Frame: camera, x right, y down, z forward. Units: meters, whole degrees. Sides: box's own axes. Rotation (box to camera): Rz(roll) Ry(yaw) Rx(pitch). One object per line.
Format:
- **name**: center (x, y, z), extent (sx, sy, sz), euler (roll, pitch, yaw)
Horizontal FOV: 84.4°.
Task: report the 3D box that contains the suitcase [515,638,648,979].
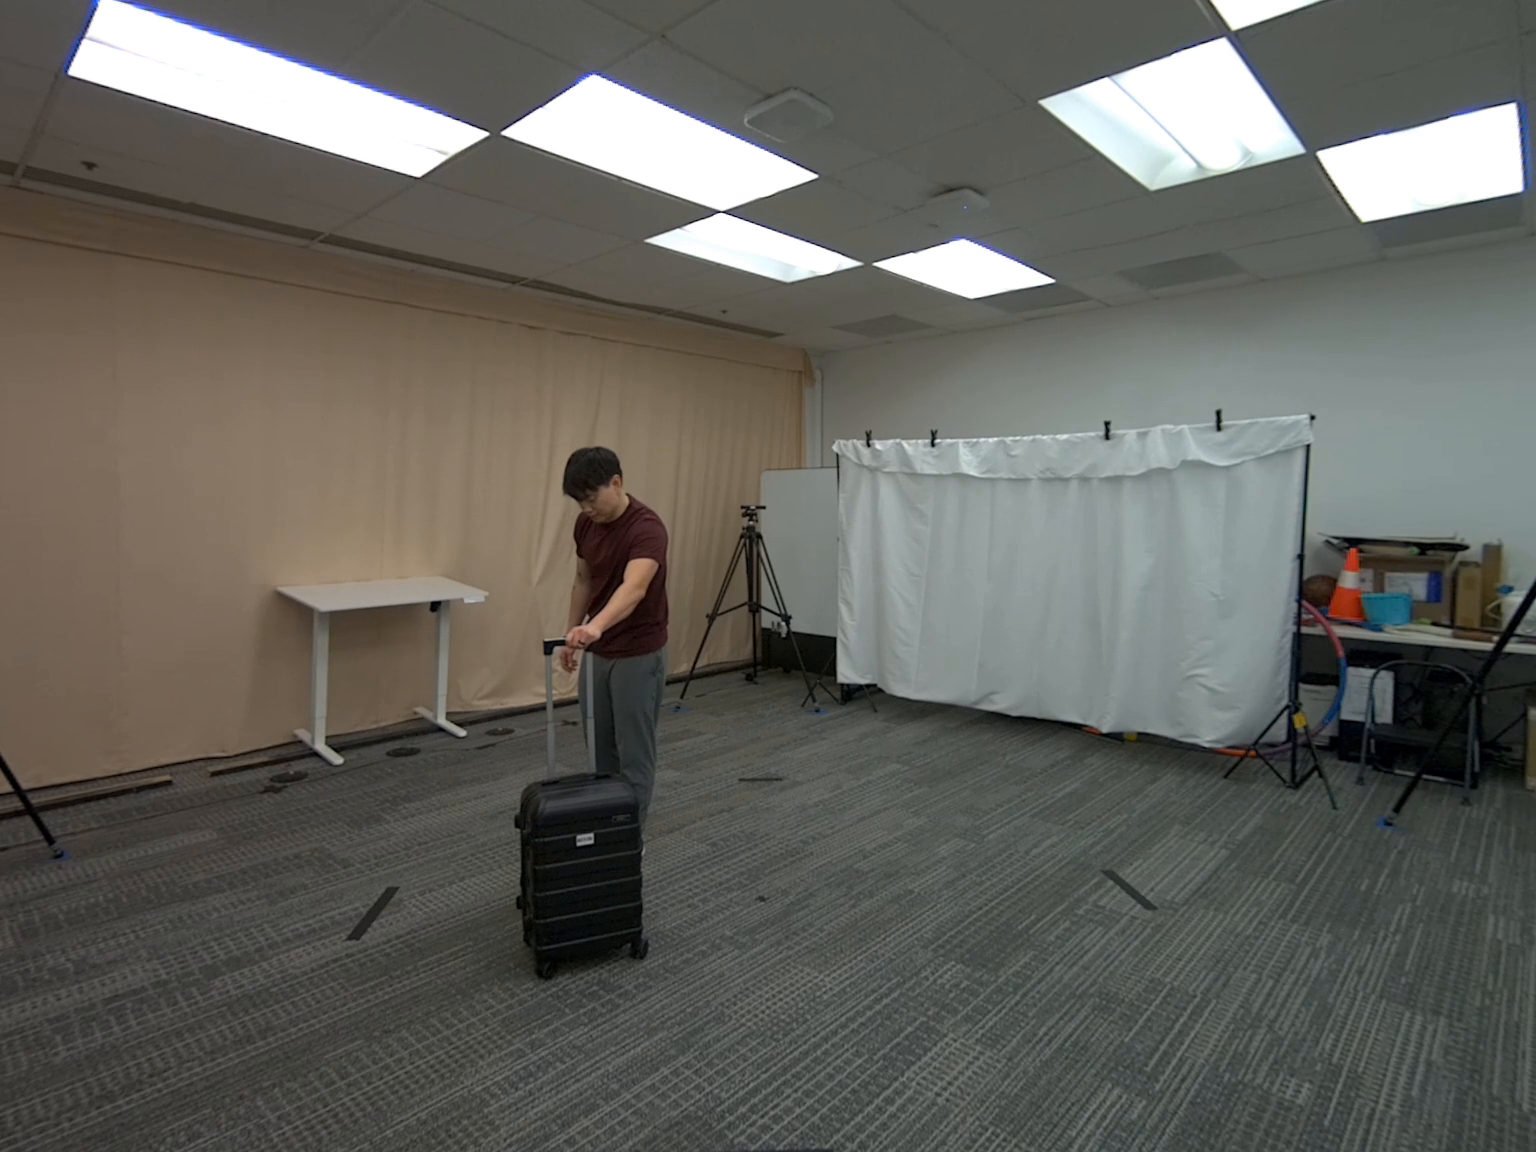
- **suitcase**: center (-0.575, 0.706, 2.594), extent (0.376, 0.975, 0.263), euler (-3, 6, -21)
